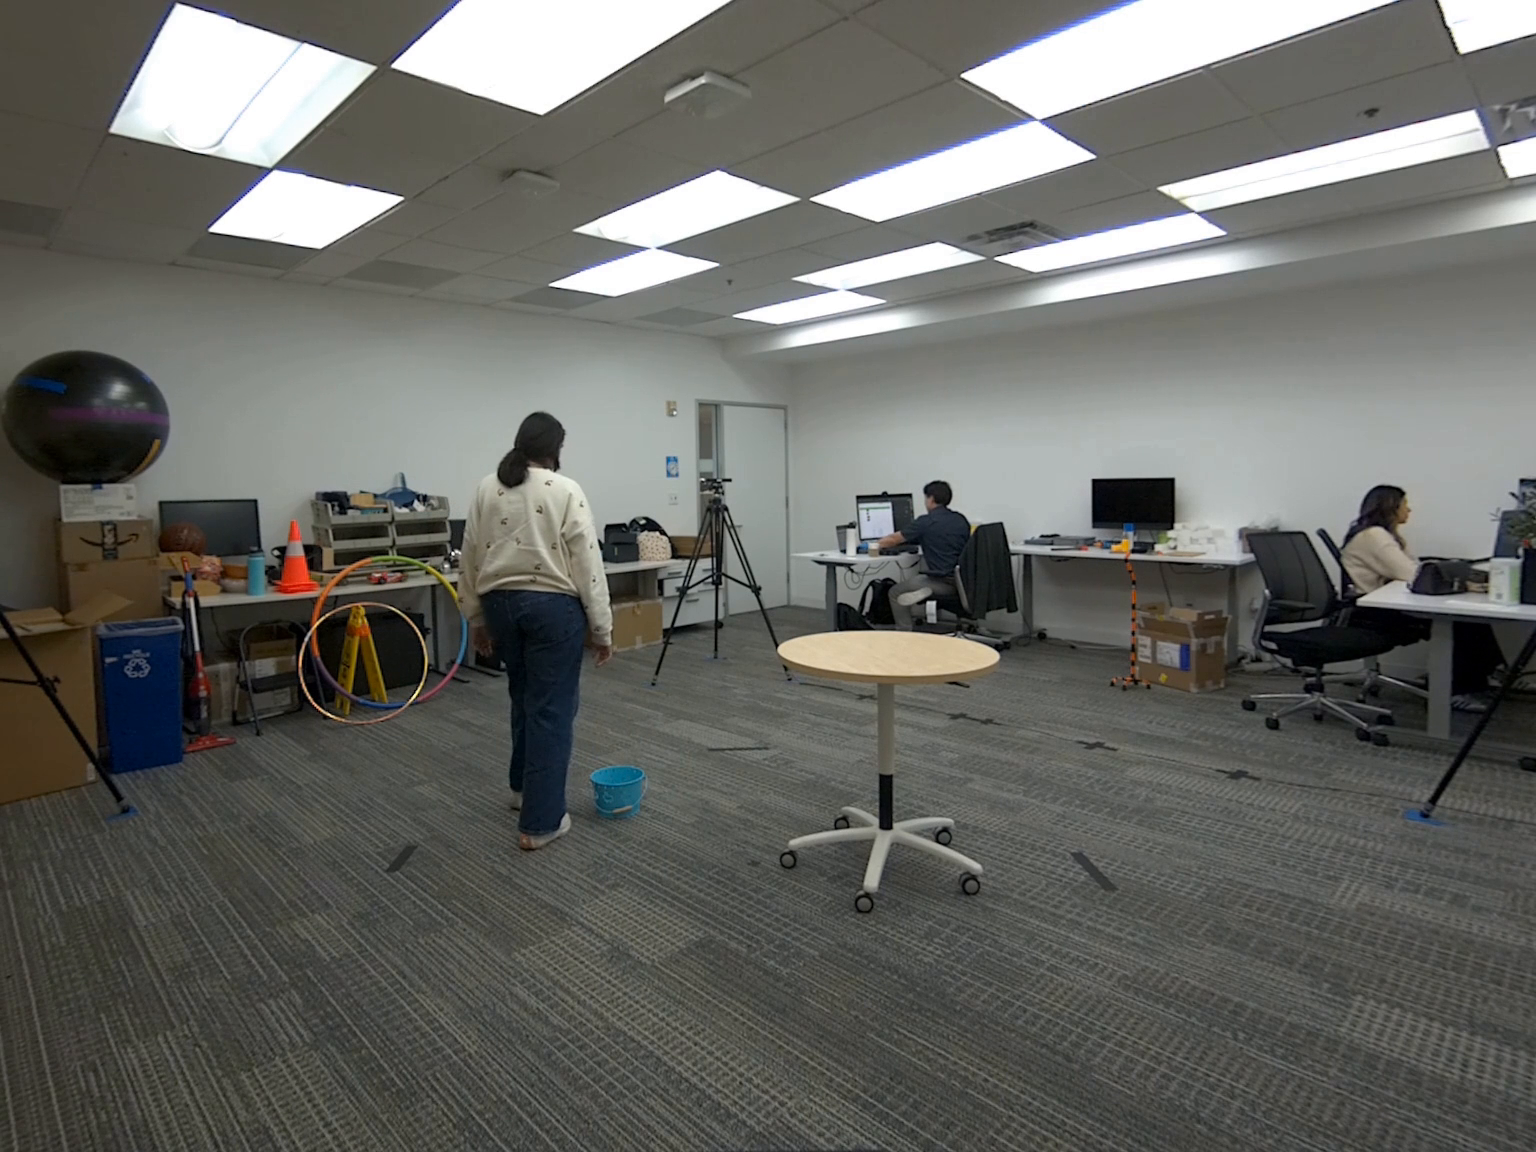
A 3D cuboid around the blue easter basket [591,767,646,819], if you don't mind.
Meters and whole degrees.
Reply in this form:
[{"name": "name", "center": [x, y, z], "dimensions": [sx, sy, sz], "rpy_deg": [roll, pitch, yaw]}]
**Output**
[{"name": "blue easter basket", "center": [-0.641, 0.914, 3.623], "dimensions": [0.243, 0.155, 0.245], "rpy_deg": [-1, 5, -2]}]
